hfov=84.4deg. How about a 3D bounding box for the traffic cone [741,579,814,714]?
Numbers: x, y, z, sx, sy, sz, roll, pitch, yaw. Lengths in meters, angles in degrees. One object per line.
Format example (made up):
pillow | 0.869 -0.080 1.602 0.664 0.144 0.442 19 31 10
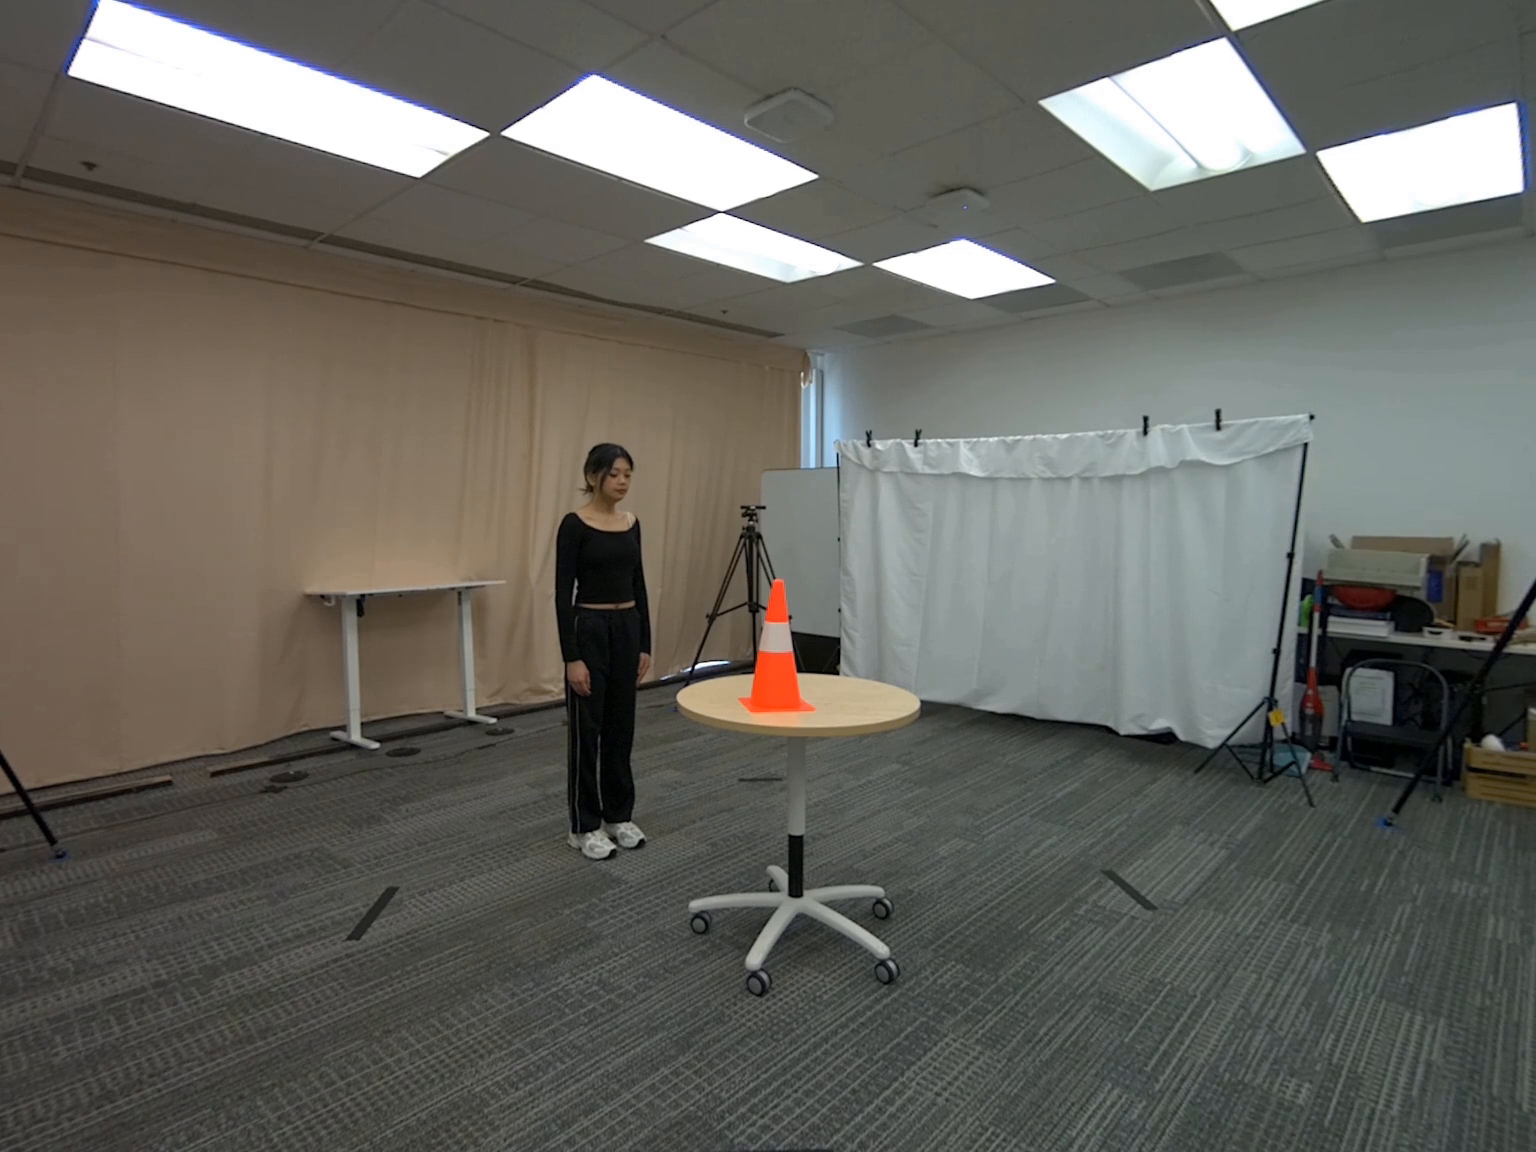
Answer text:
traffic cone | 0.036 0.206 2.562 0.201 0.383 0.207 0 3 -17
